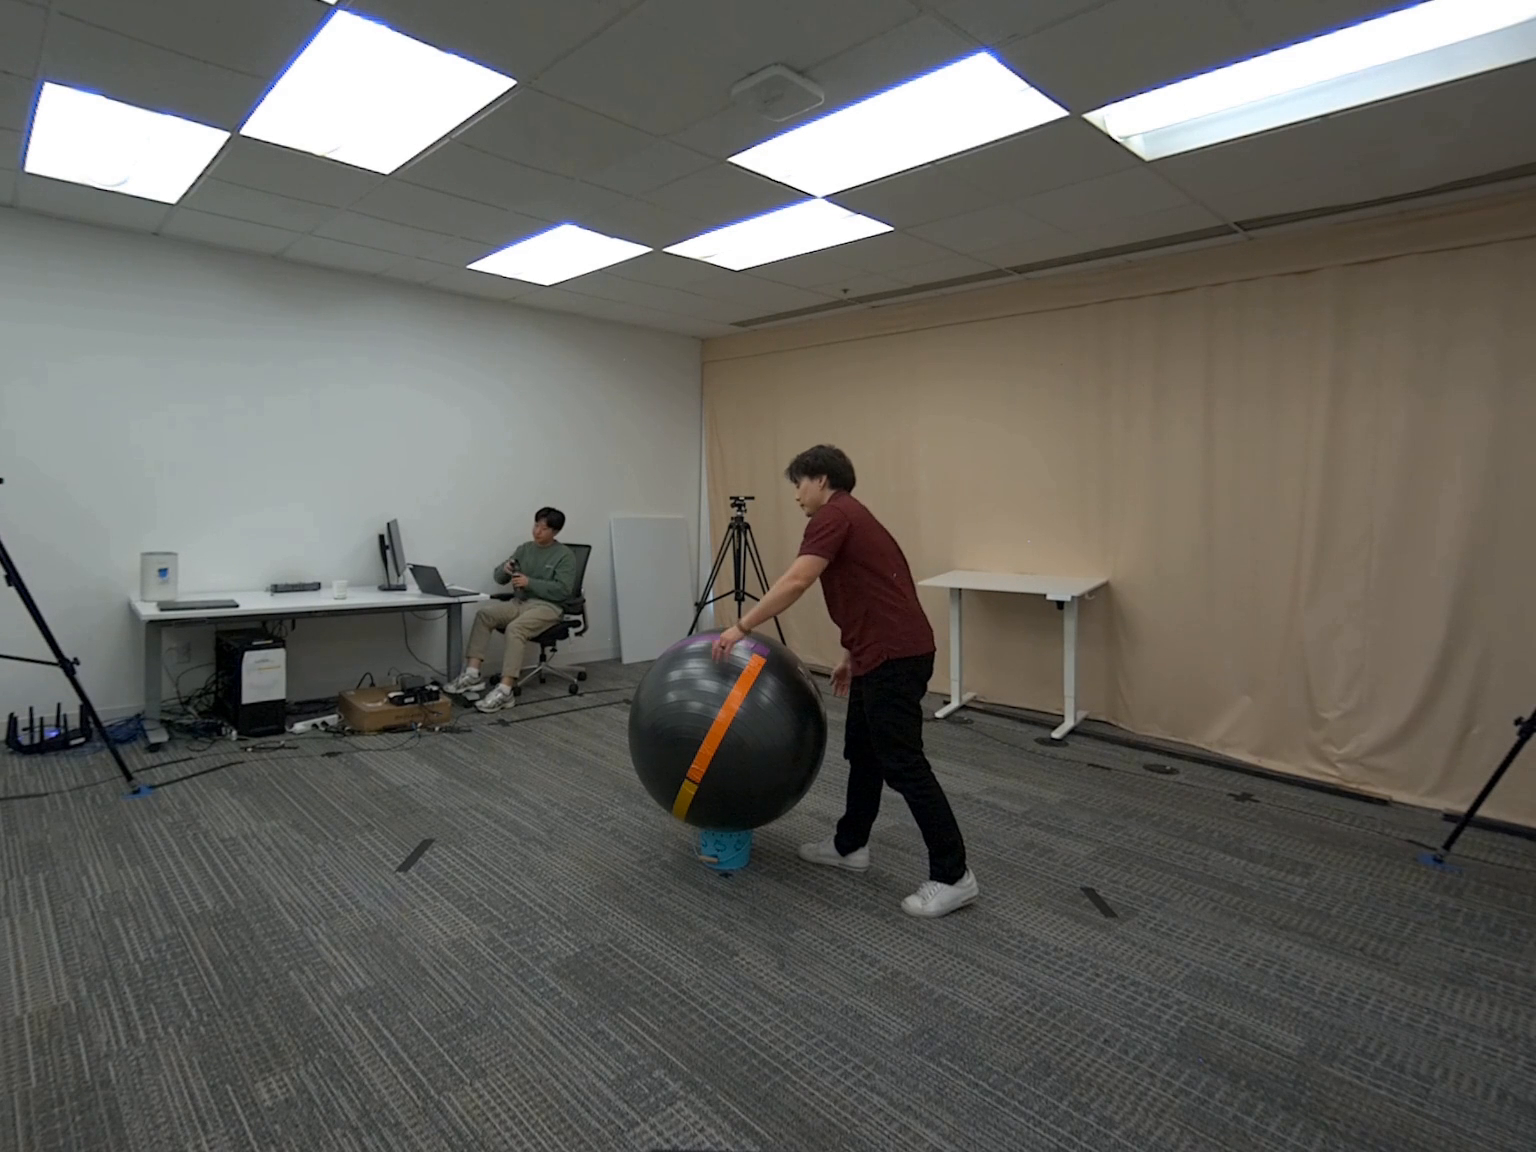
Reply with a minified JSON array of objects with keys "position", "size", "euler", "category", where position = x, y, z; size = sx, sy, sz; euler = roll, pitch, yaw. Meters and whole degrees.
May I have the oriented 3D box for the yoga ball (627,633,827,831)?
[{"position":[-0.157,0.580,3.211],"size":[0.757,0.756,0.761],"euler":[1,4,-1],"category":"yoga ball"}]
